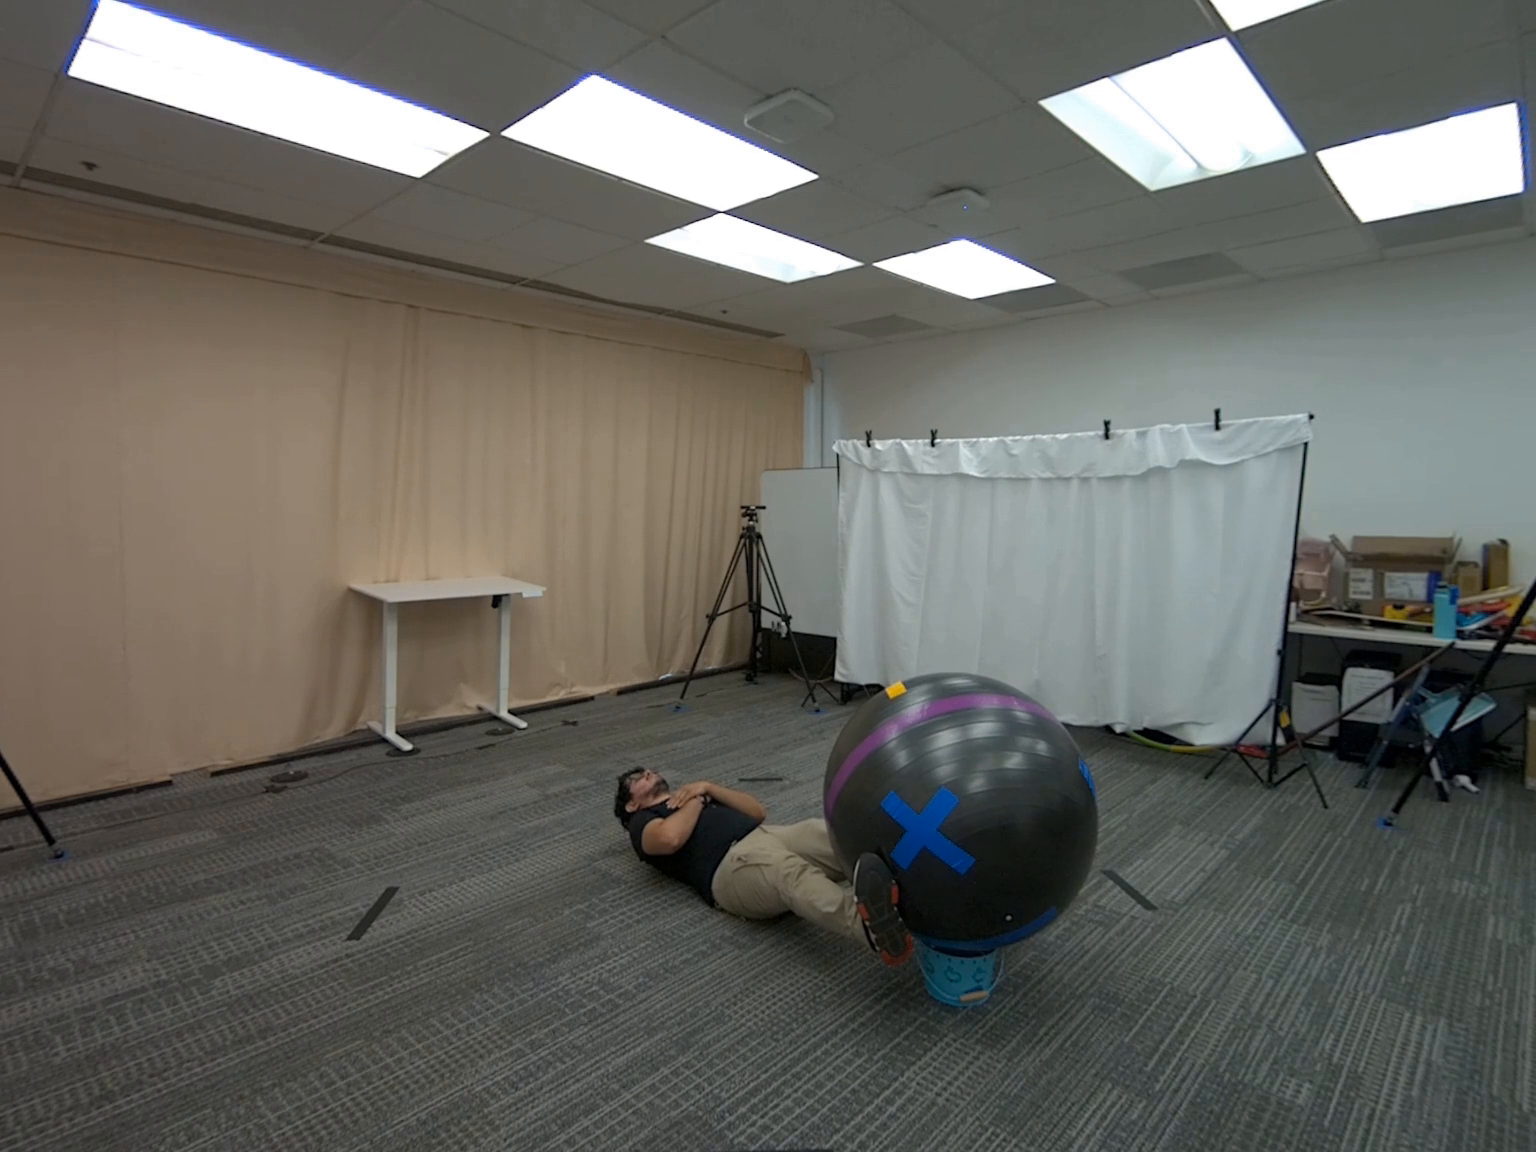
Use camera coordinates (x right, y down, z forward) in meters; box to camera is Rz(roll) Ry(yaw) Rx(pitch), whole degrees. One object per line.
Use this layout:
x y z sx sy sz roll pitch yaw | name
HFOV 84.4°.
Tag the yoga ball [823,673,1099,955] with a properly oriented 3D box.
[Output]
0.548 0.669 2.429 0.757 0.756 0.760 0 4 -2 | yoga ball
